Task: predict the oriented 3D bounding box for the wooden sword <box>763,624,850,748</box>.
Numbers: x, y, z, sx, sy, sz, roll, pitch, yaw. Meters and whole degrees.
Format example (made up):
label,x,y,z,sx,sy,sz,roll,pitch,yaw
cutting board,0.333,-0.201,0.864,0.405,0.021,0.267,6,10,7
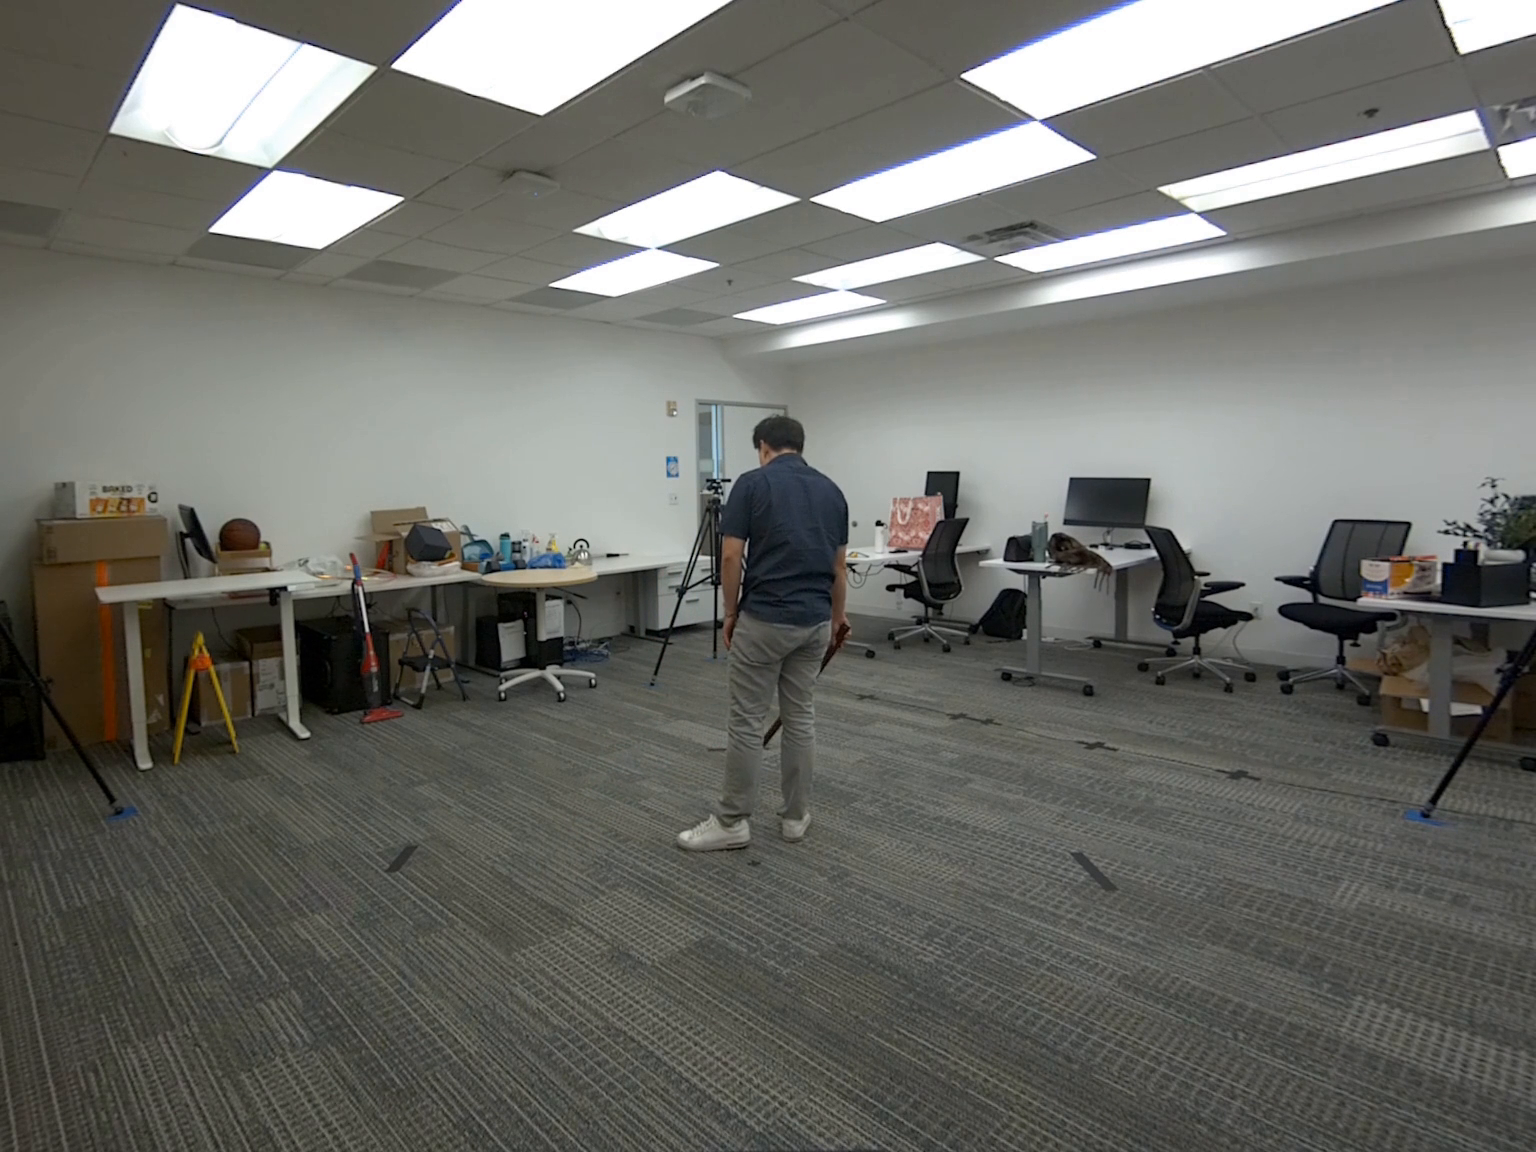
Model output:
label,x,y,z,sx,sy,sz,roll,pitch,yaw
wooden sword,0.094,0.591,3.767,0.050,1.020,0.025,21,33,-26
